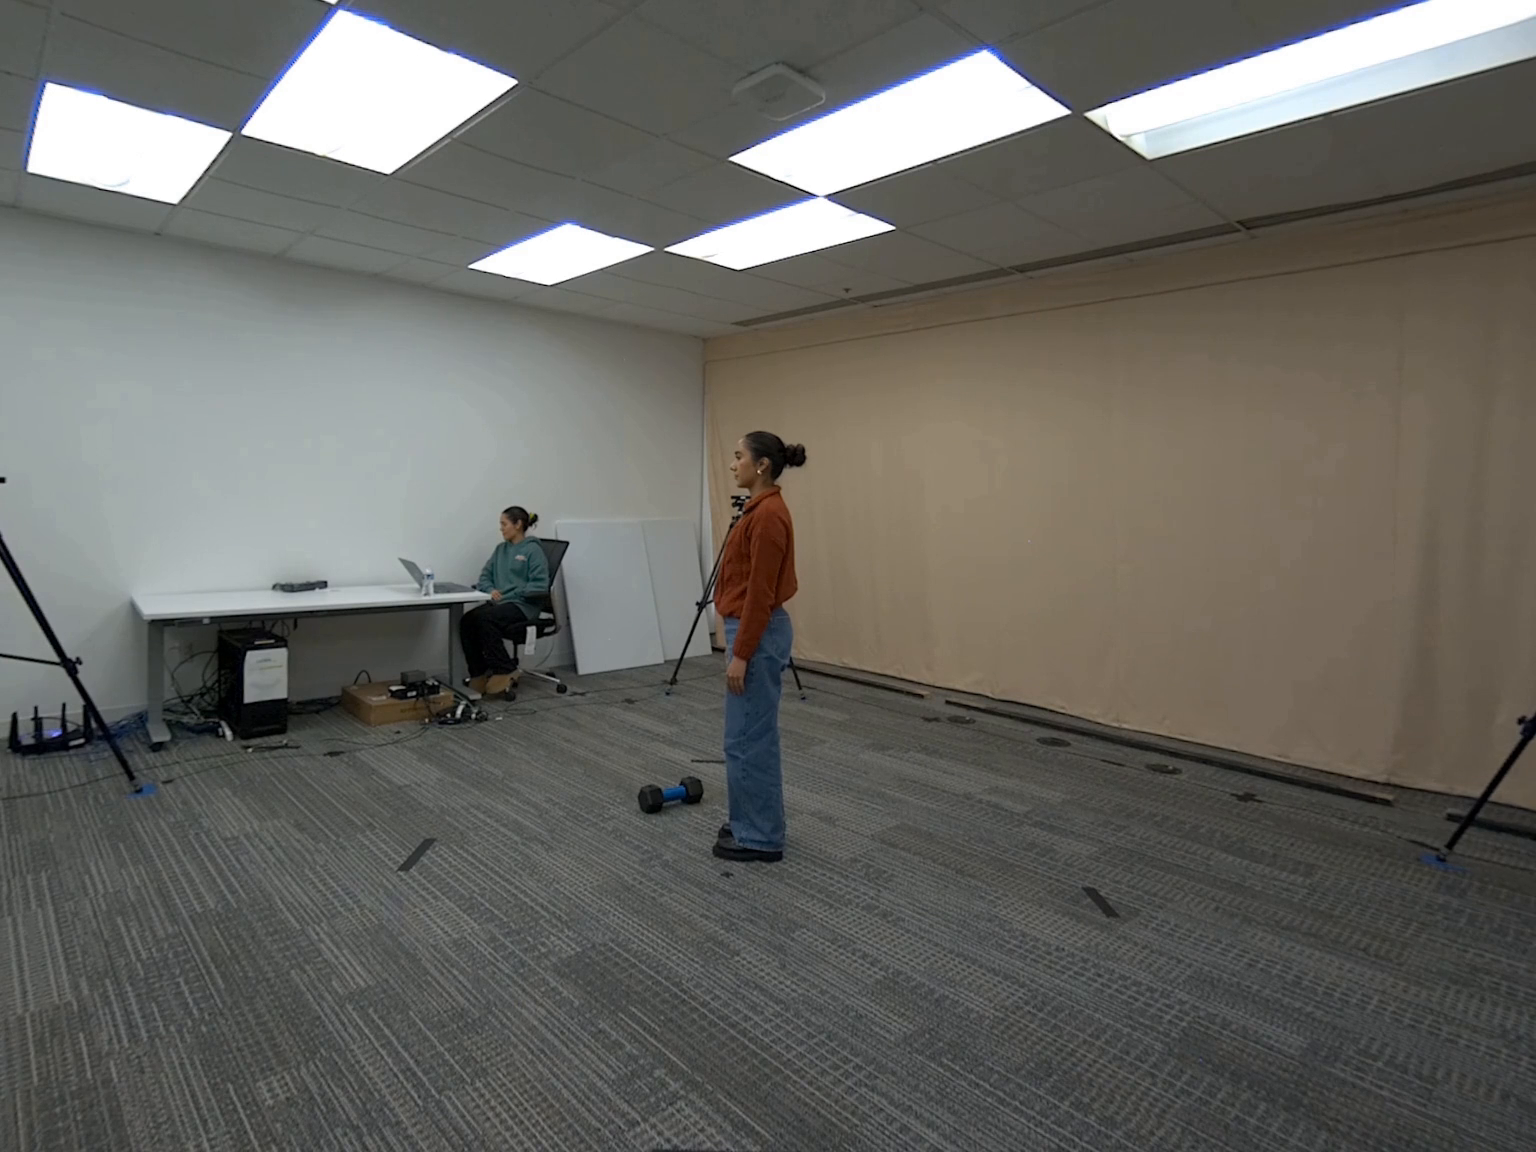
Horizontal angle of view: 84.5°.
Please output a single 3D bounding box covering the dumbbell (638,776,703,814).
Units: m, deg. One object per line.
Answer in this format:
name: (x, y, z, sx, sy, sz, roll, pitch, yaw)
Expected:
dumbbell: (-0.444, 0.982, 3.781, 0.287, 0.122, 0.112, -2, 36, -38)
